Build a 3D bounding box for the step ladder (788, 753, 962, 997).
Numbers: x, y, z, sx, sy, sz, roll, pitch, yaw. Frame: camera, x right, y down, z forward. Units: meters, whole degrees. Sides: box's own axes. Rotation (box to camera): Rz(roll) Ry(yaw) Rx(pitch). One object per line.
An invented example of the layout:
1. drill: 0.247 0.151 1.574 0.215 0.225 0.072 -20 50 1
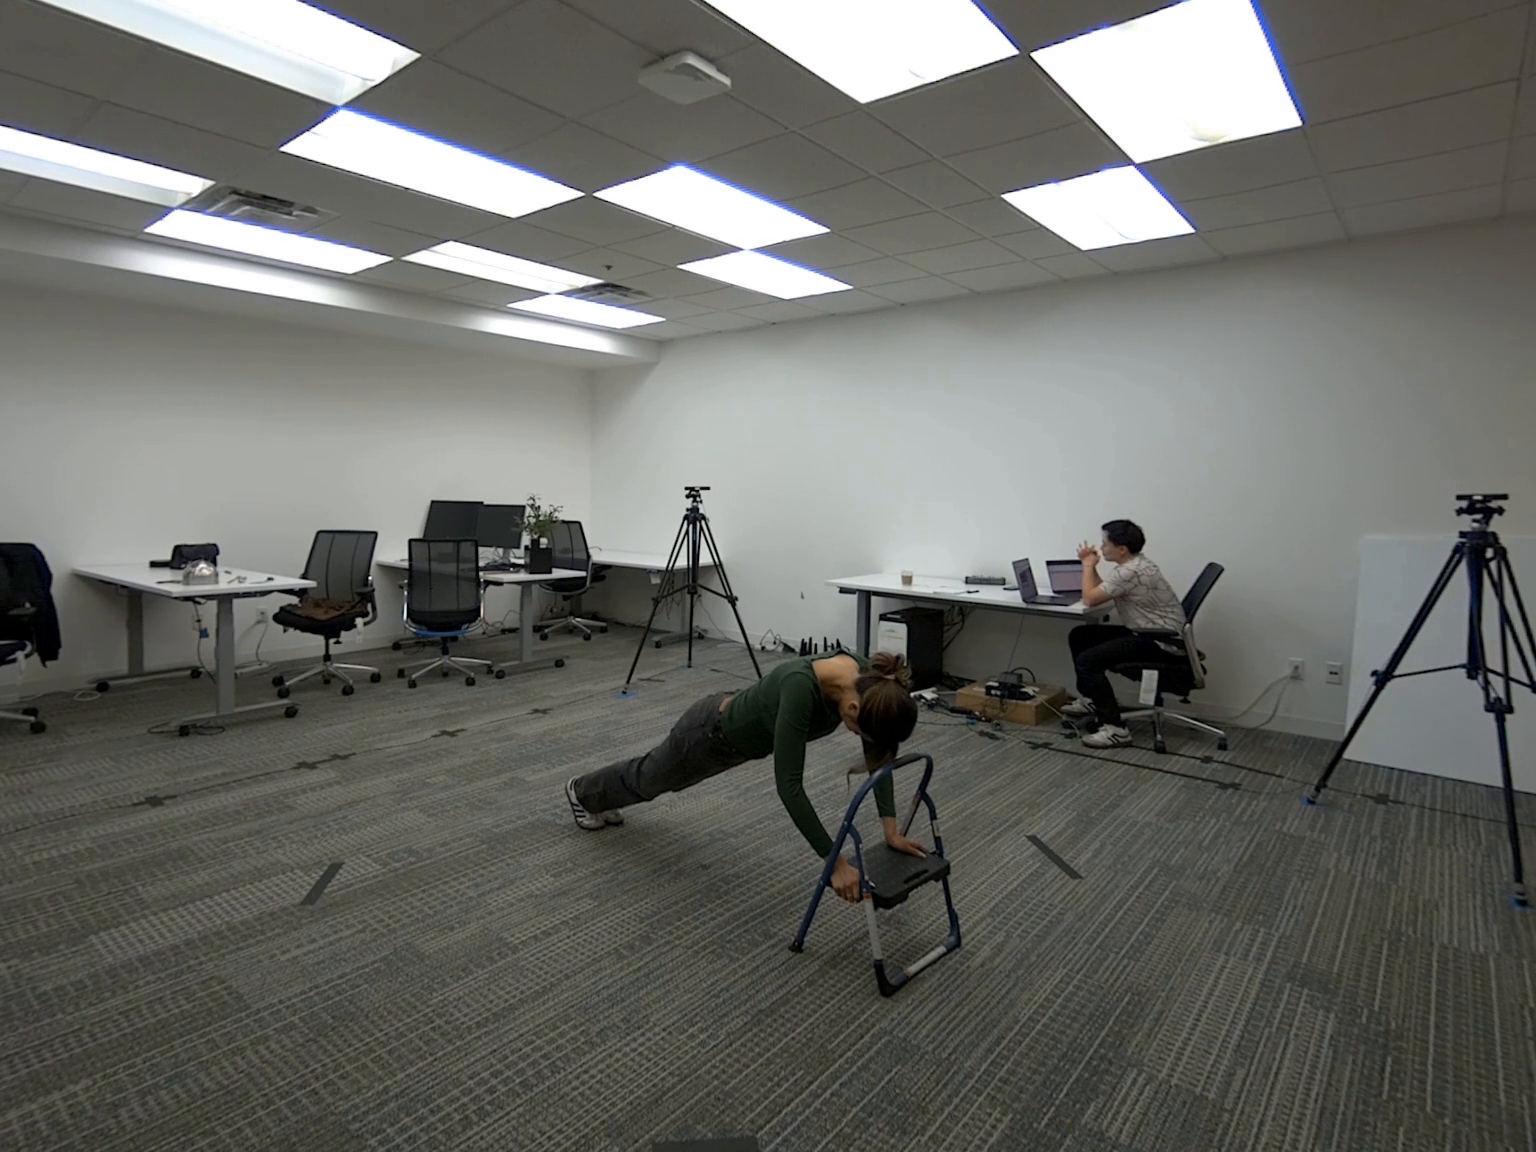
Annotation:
1. step ladder: 0.332 0.828 2.578 0.361 0.604 0.418 5 5 43
